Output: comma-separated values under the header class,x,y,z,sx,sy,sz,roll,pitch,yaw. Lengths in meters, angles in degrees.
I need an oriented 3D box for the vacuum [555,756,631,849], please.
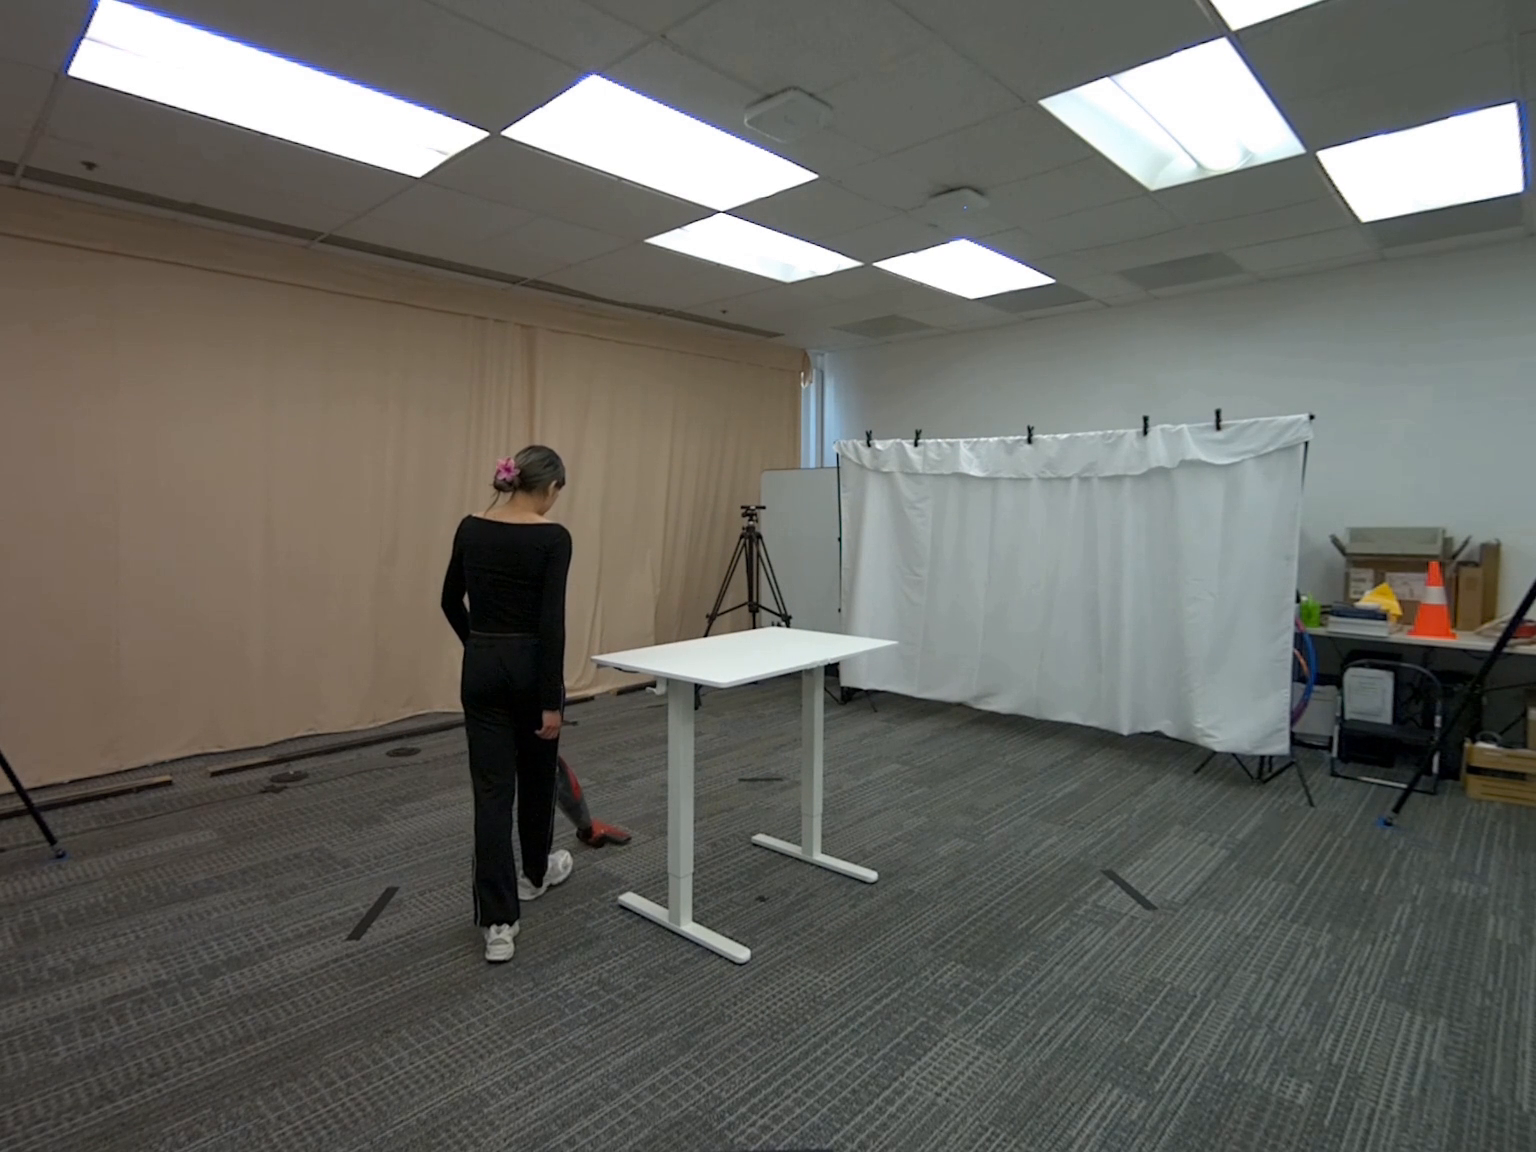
class,x,y,z,sx,sy,sz,roll,pitch,yaw
vacuum,-0.876,0.700,3.275,0.260,1.022,0.143,0,37,35
